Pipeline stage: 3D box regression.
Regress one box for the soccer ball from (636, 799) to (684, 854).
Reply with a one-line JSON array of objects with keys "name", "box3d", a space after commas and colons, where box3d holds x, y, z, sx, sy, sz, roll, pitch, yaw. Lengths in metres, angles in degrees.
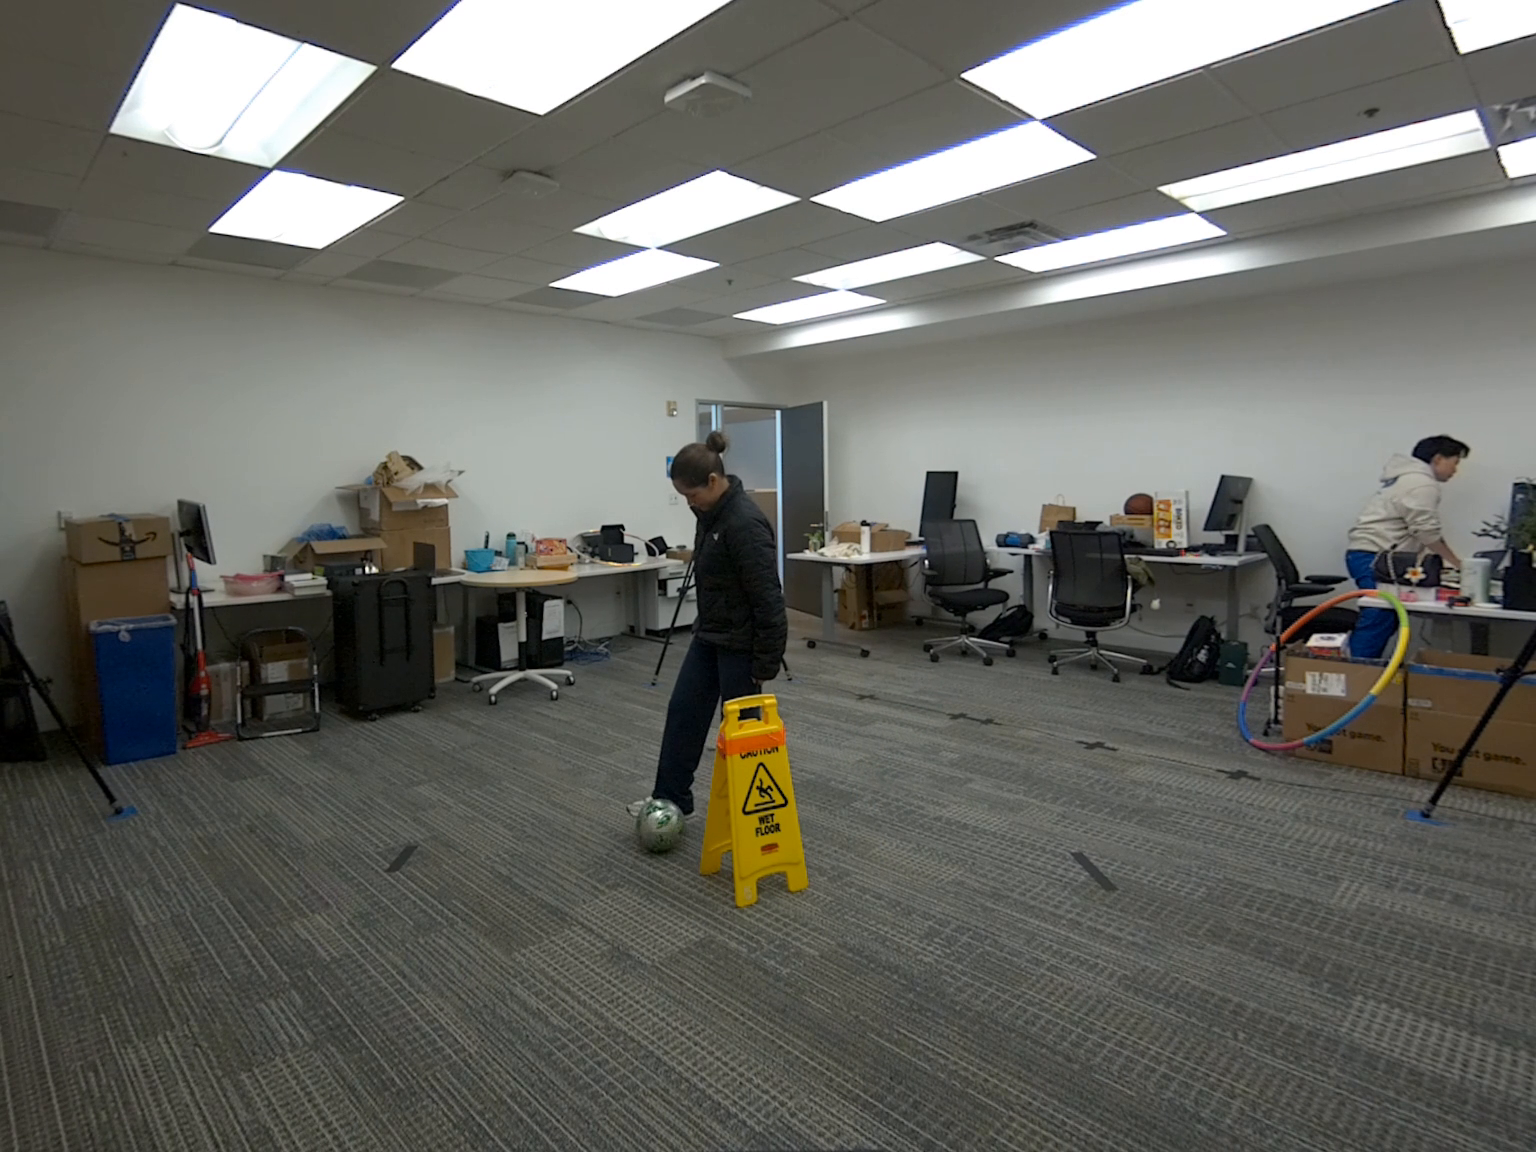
[{"name": "soccer ball", "box3d": [-0.409, 0.947, 3.236, 0.187, 0.187, 0.188, -1, 5, -2]}]
